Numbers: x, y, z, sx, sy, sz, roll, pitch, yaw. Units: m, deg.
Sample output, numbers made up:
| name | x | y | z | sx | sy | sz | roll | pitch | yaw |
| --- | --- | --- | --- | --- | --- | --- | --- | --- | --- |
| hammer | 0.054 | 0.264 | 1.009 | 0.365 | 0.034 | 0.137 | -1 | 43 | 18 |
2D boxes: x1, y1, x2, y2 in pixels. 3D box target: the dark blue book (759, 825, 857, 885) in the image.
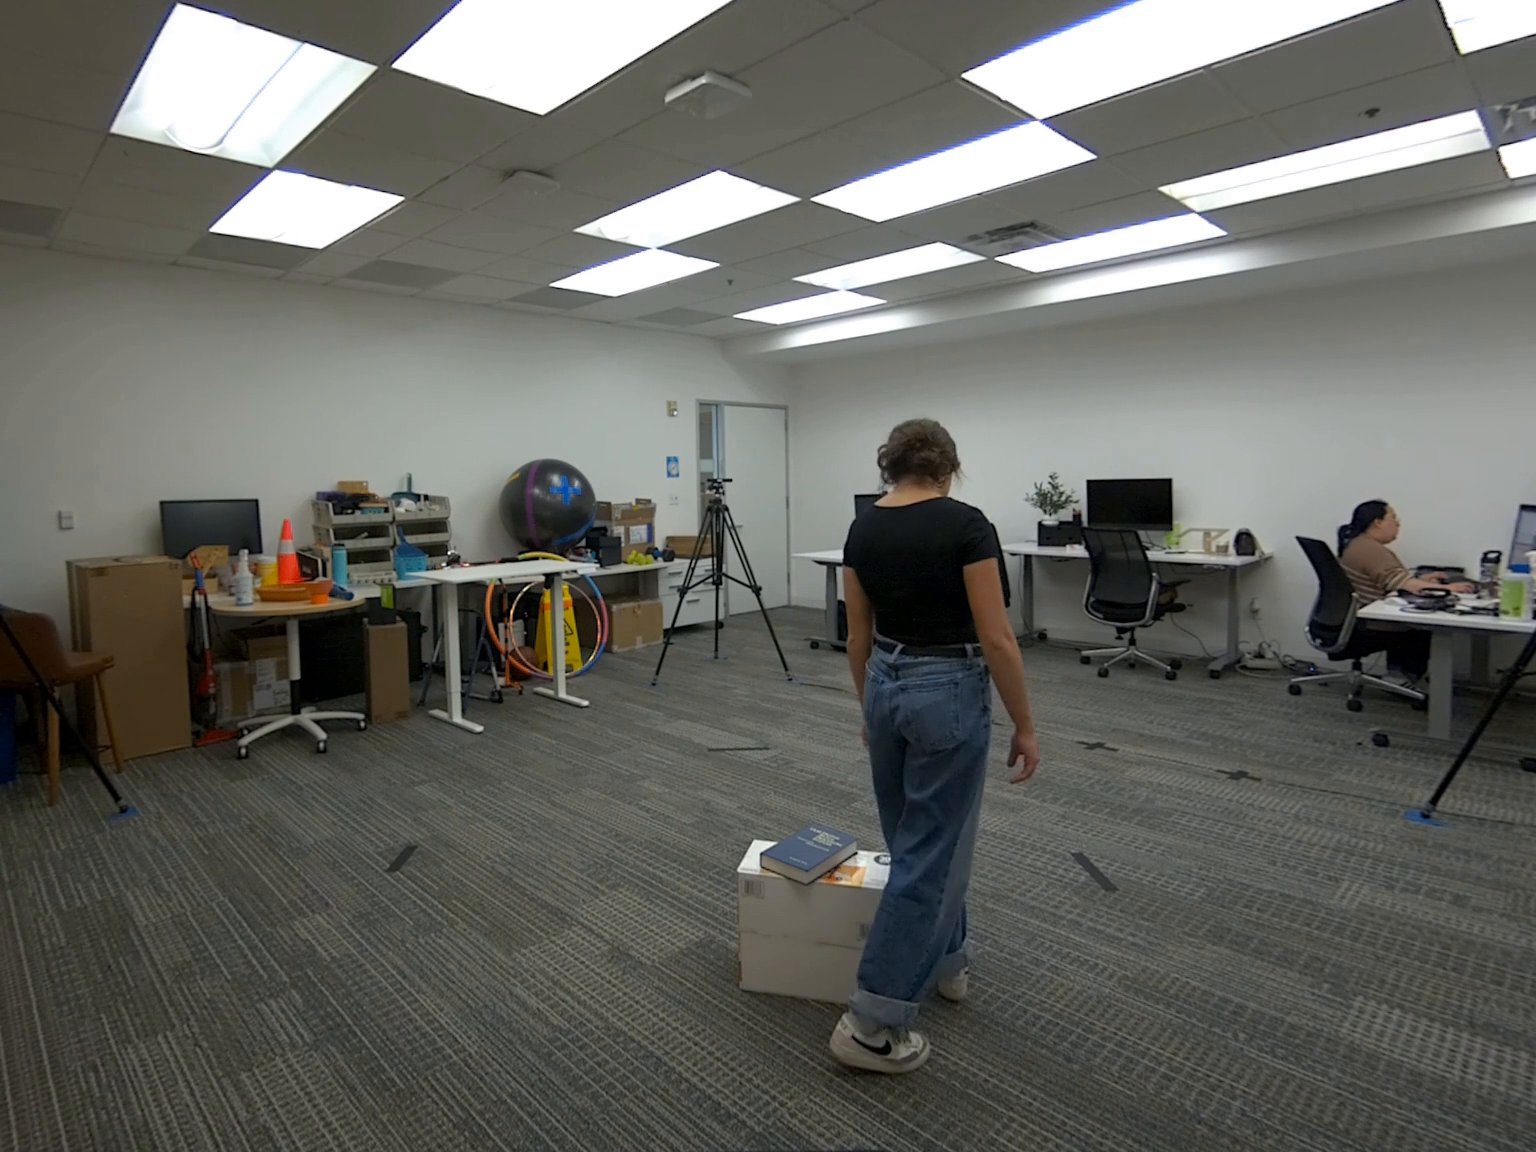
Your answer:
| name | x | y | z | sx | sy | sz | roll | pitch | yaw |
| --- | --- | --- | --- | --- | --- | --- | --- | --- | --- |
| dark blue book | 0.118 | 0.766 | 2.369 | 0.168 | 0.045 | 0.239 | 6 | 11 | 39 |
